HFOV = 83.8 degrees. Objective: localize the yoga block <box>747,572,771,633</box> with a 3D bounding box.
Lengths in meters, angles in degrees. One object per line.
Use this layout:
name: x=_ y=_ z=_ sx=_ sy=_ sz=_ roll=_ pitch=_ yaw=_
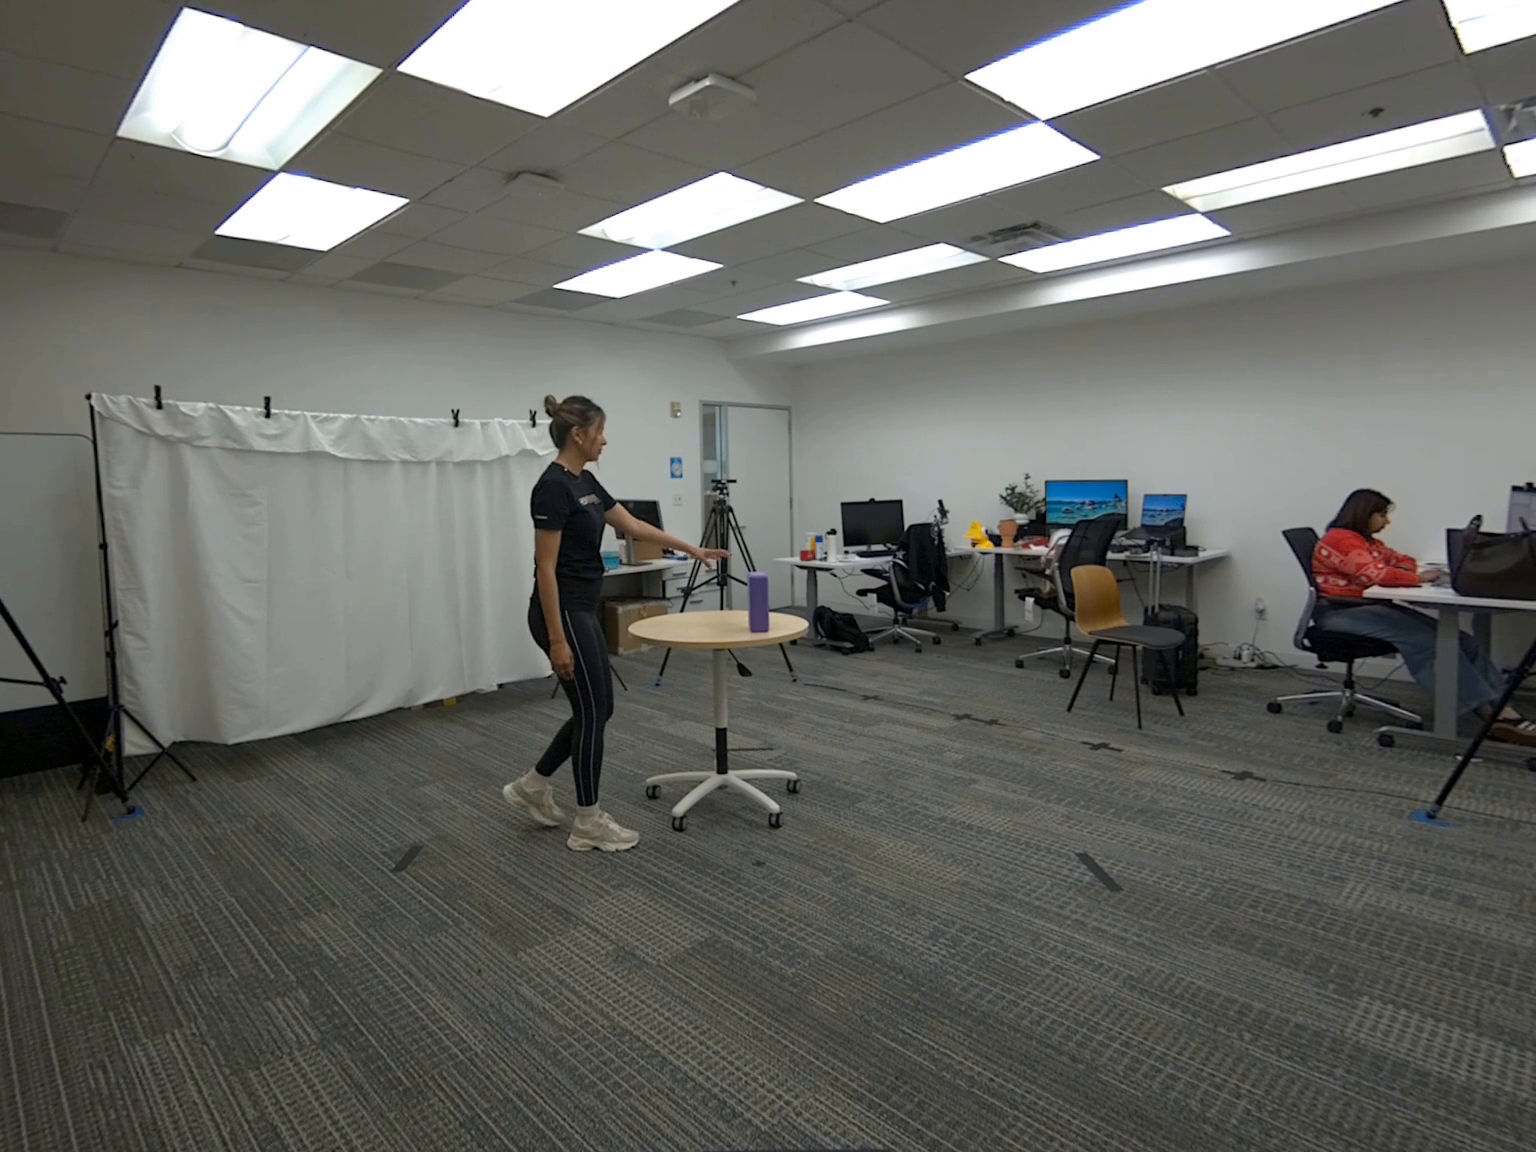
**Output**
yoga block: x=-0.048 y=0.106 z=3.490 sx=0.077 sy=0.227 sz=0.150 roll=-2 pitch=11 yaw=2
